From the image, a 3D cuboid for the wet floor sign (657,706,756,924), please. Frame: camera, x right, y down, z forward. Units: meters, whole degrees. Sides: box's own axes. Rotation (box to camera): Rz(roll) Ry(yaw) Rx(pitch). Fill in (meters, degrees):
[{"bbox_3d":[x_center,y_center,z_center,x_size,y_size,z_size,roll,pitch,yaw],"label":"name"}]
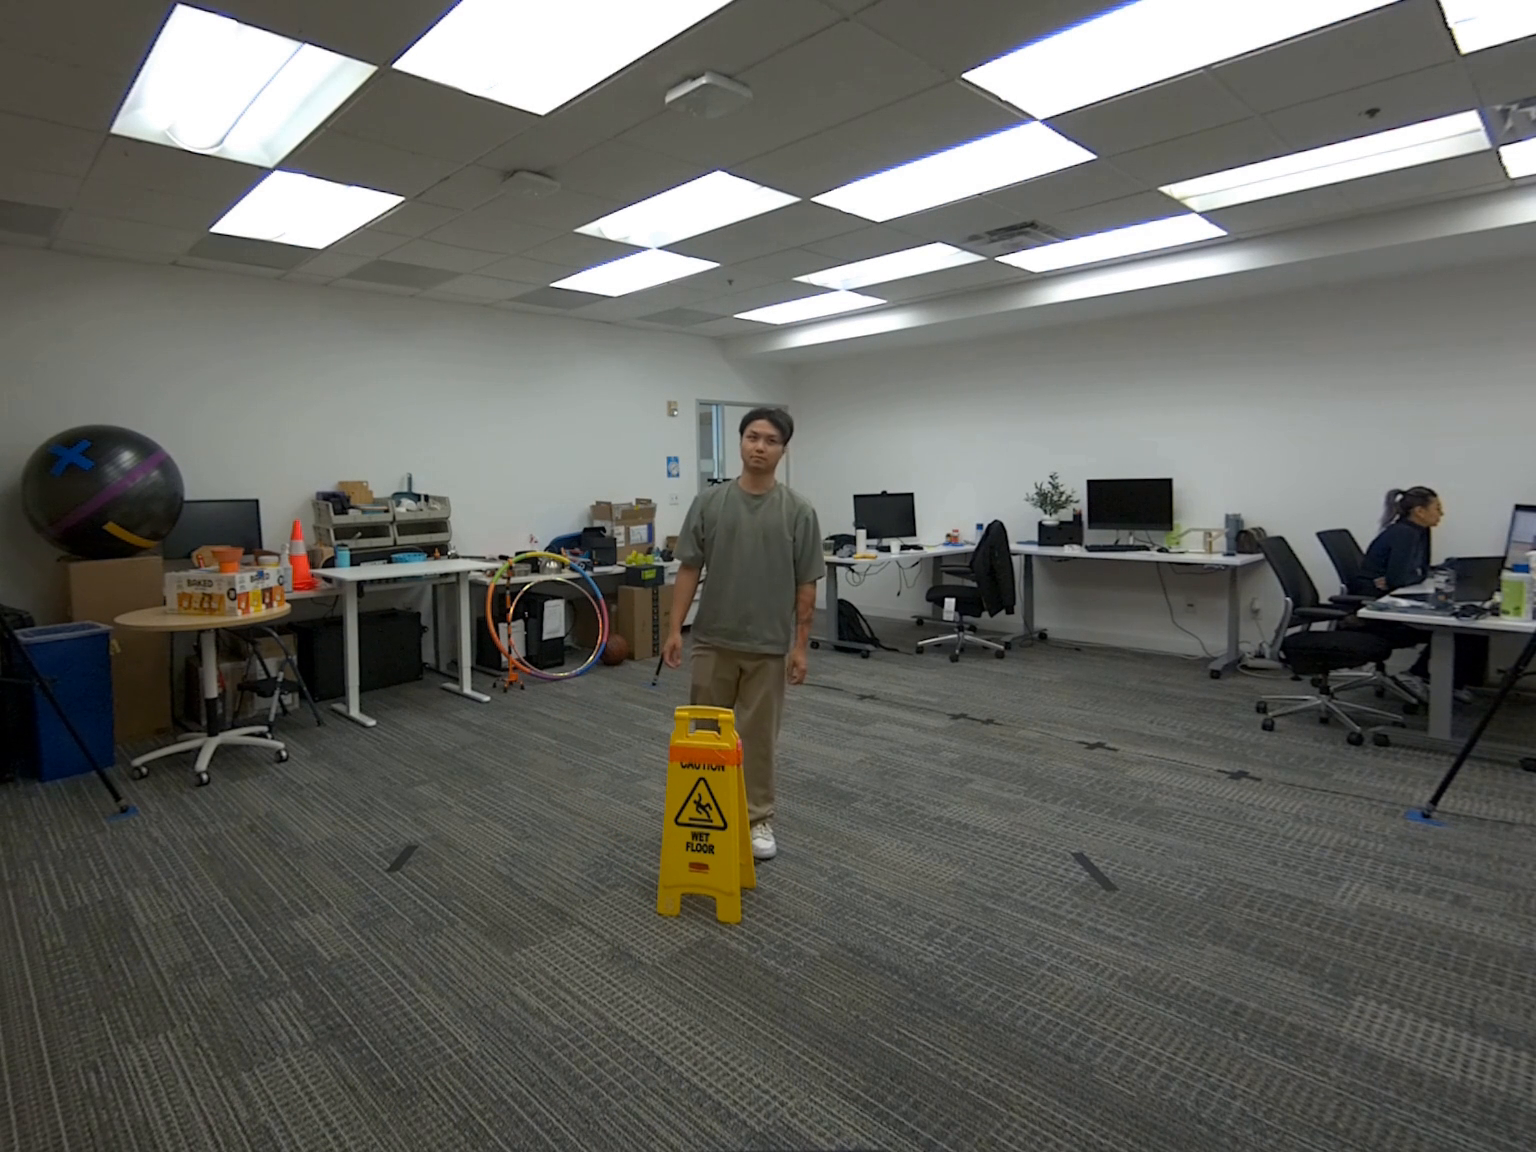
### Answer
[{"bbox_3d":[-0.201,0.763,2.816,0.286,0.643,0.287,-1,5,12],"label":"wet floor sign"}]
